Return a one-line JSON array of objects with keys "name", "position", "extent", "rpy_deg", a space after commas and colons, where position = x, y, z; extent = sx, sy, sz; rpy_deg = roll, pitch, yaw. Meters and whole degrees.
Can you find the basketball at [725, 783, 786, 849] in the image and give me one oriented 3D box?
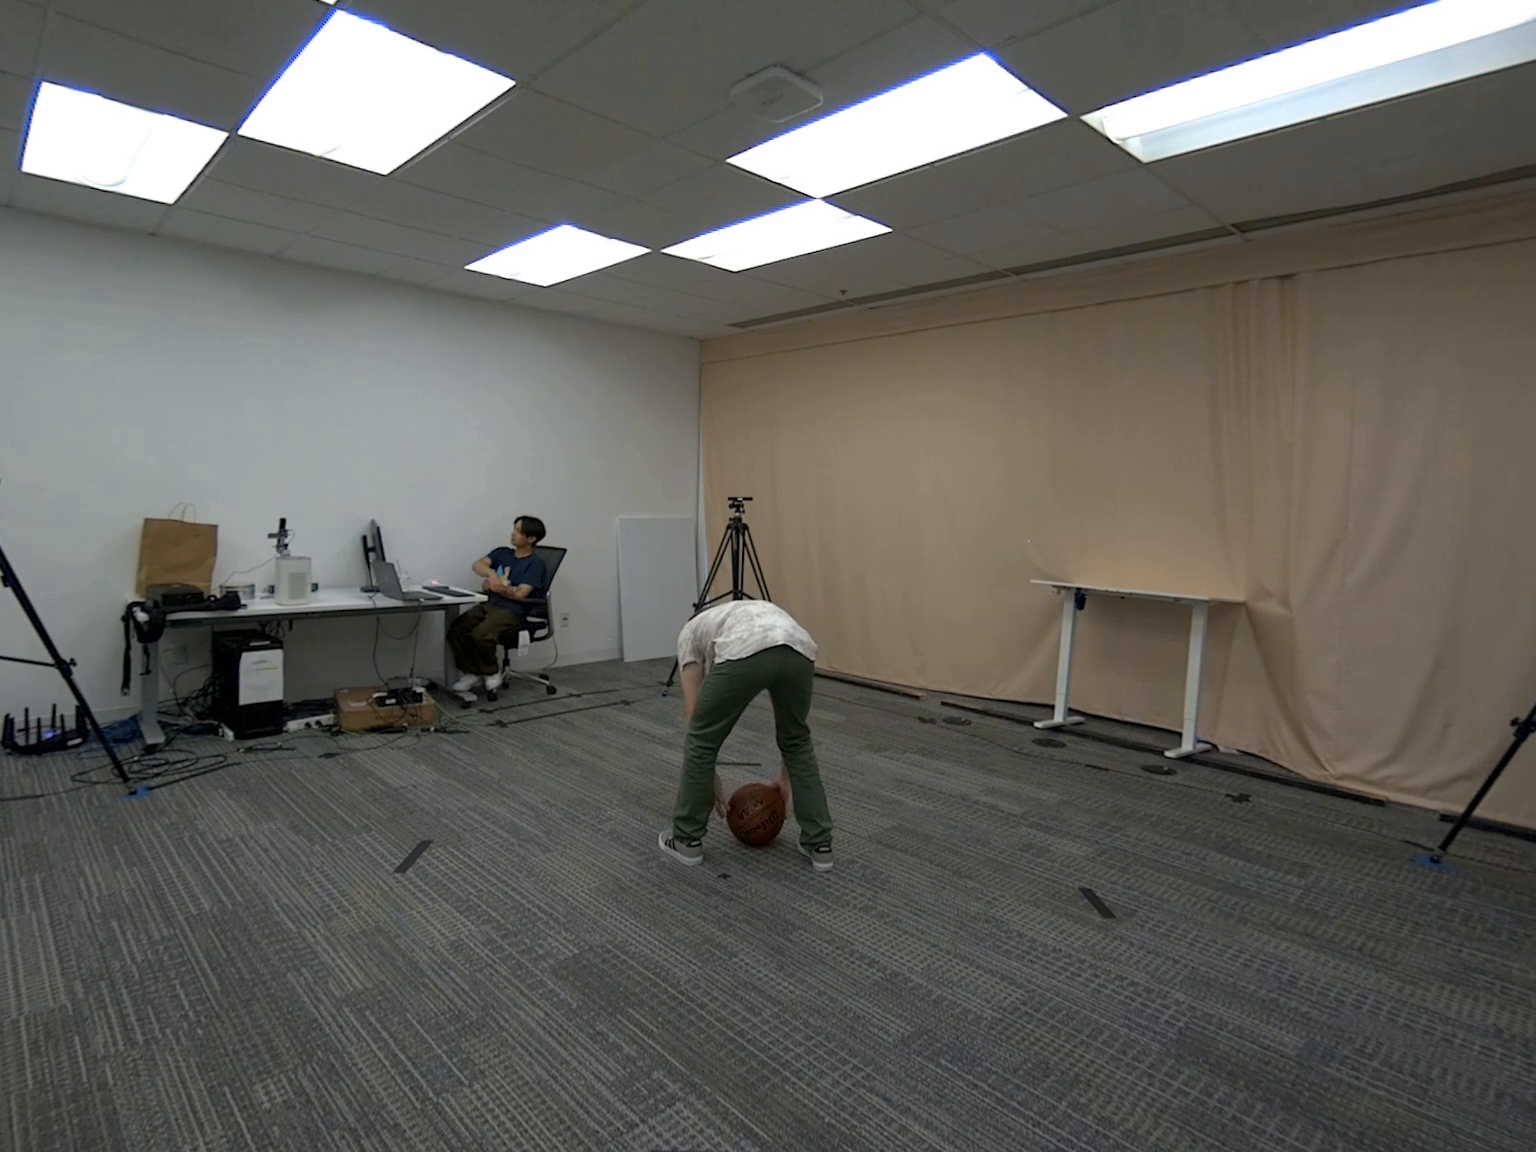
[{"name": "basketball", "position": [-0.060, 0.956, 3.405], "extent": [0.236, 0.235, 0.237], "rpy_deg": [1, 4, -1]}]
